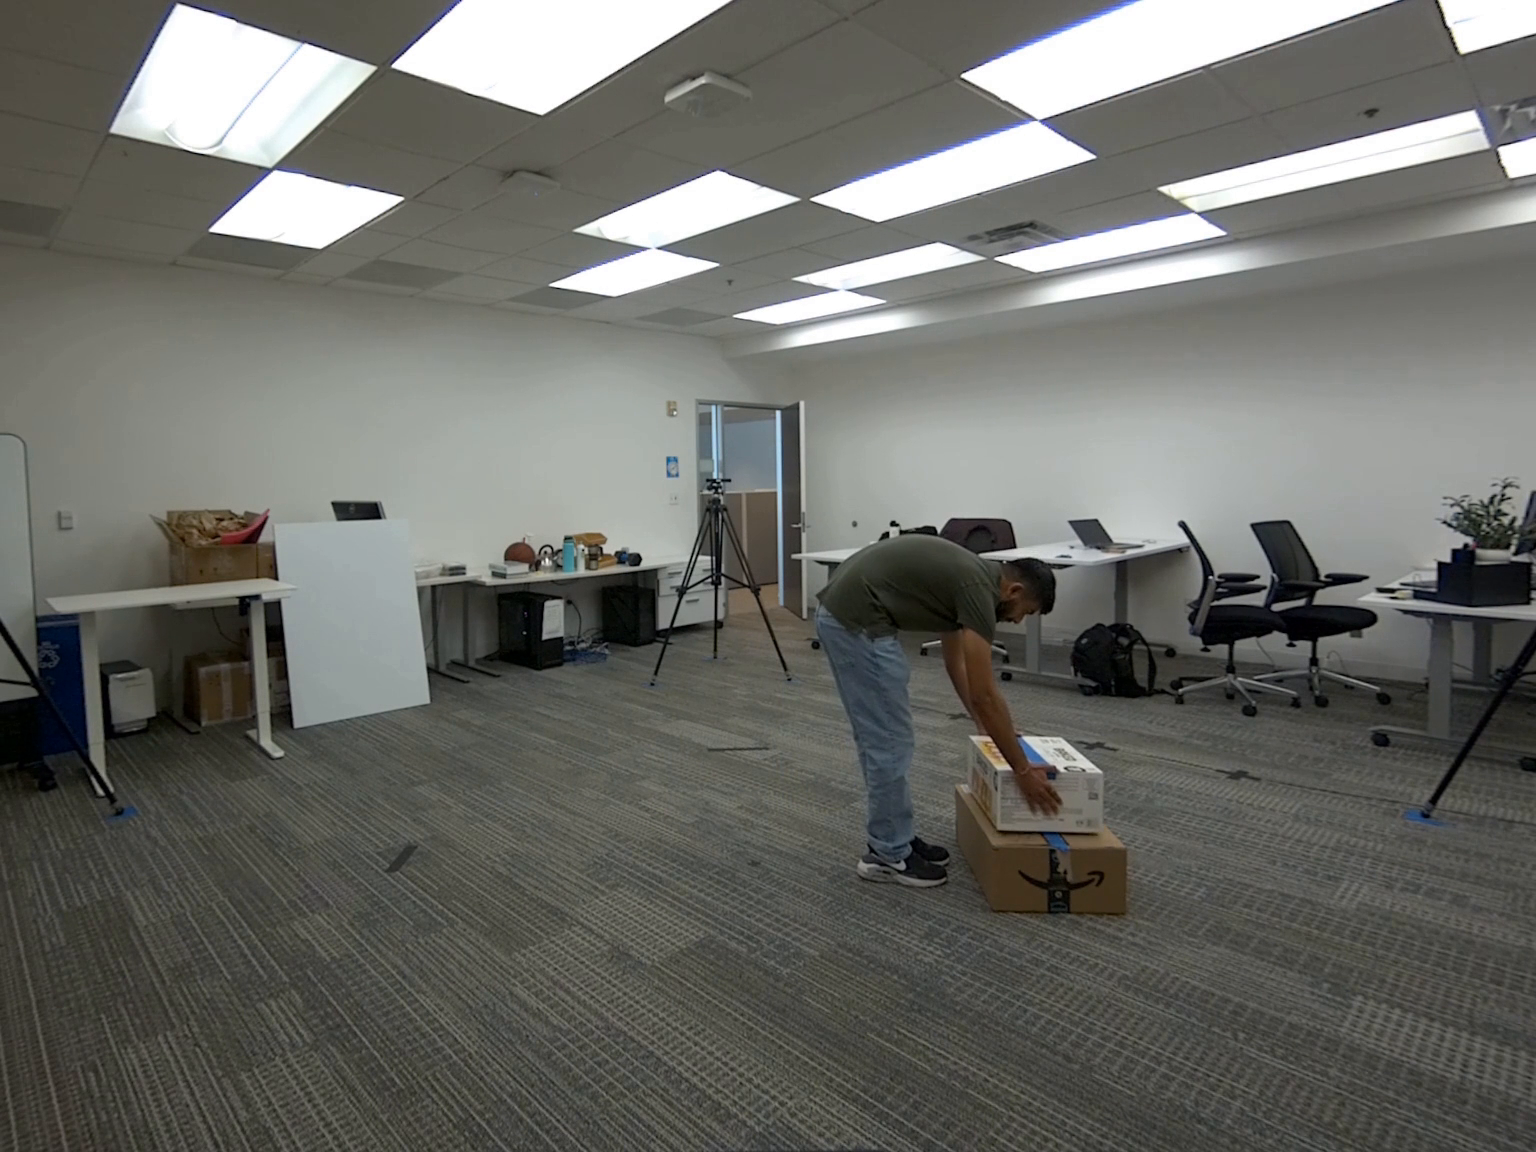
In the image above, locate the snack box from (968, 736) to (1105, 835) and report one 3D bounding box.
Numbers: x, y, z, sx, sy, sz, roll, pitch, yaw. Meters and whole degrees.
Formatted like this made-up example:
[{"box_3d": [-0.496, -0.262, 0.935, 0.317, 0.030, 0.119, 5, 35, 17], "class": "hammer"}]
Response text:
[{"box_3d": [0.914, 0.715, 2.976, 0.341, 0.205, 0.406, -1, 5, 2], "class": "snack box"}]
